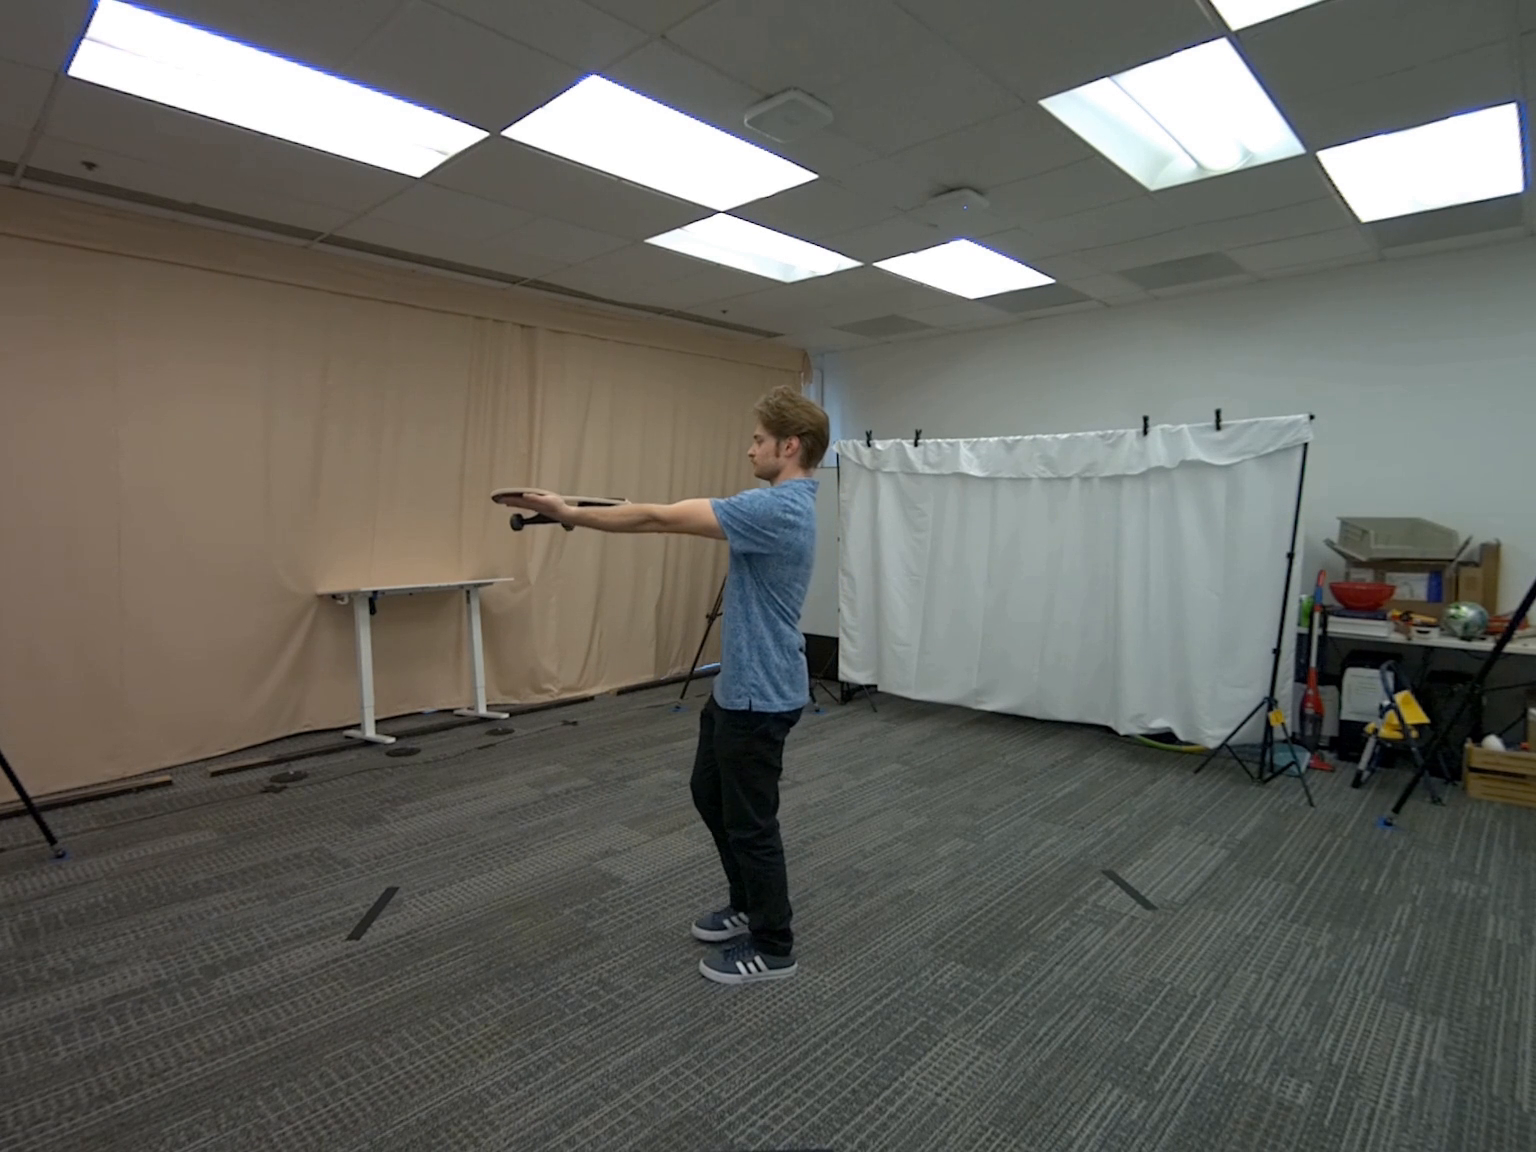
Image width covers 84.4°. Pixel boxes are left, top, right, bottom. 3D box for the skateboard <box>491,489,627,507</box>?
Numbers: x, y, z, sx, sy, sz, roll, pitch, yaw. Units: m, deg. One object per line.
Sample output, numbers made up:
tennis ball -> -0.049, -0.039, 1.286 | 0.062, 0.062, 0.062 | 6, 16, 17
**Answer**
skateboard -> -0.589, -0.191, 2.573 | 0.196, 0.110, 0.776 | -2, 3, 11
